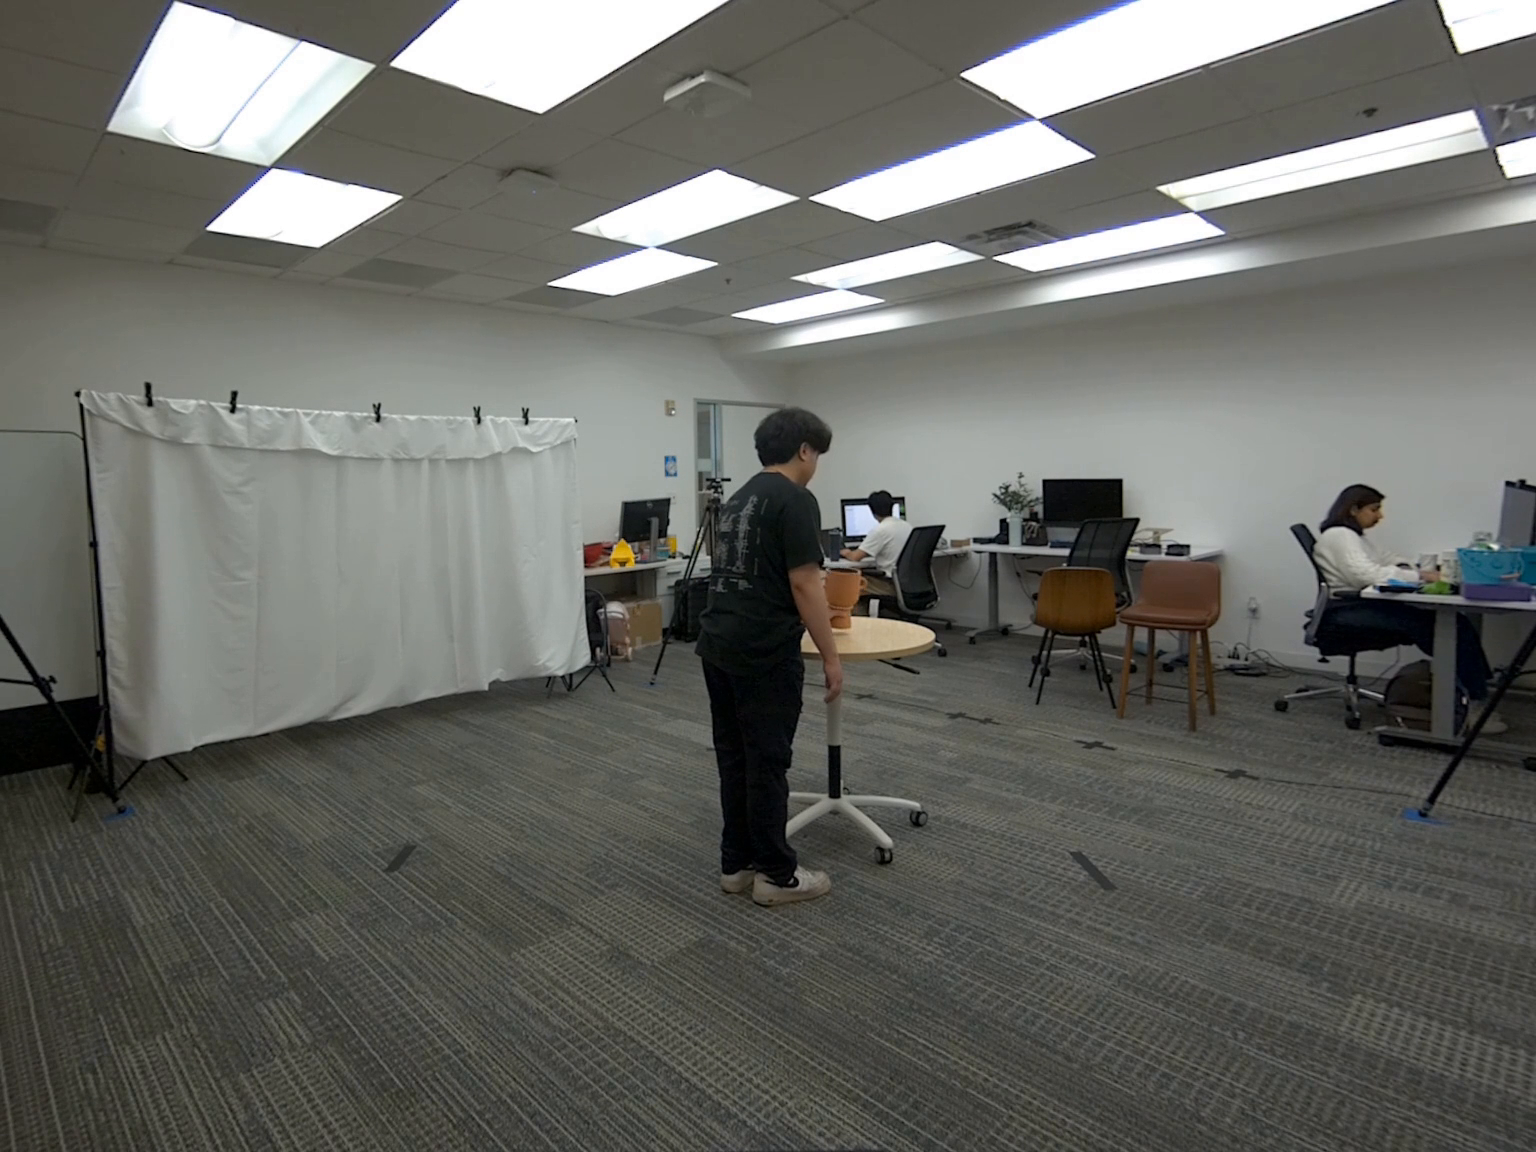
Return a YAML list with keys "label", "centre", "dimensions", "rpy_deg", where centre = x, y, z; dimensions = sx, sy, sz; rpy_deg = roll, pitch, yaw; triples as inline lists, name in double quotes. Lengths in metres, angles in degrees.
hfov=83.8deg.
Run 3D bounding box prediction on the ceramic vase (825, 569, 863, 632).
- label: "ceramic vase"
  centre: [0.282, 0.081, 3.276]
  dimensions: [0.163, 0.218, 0.132]
  rpy_deg: [8, 8, 25]
